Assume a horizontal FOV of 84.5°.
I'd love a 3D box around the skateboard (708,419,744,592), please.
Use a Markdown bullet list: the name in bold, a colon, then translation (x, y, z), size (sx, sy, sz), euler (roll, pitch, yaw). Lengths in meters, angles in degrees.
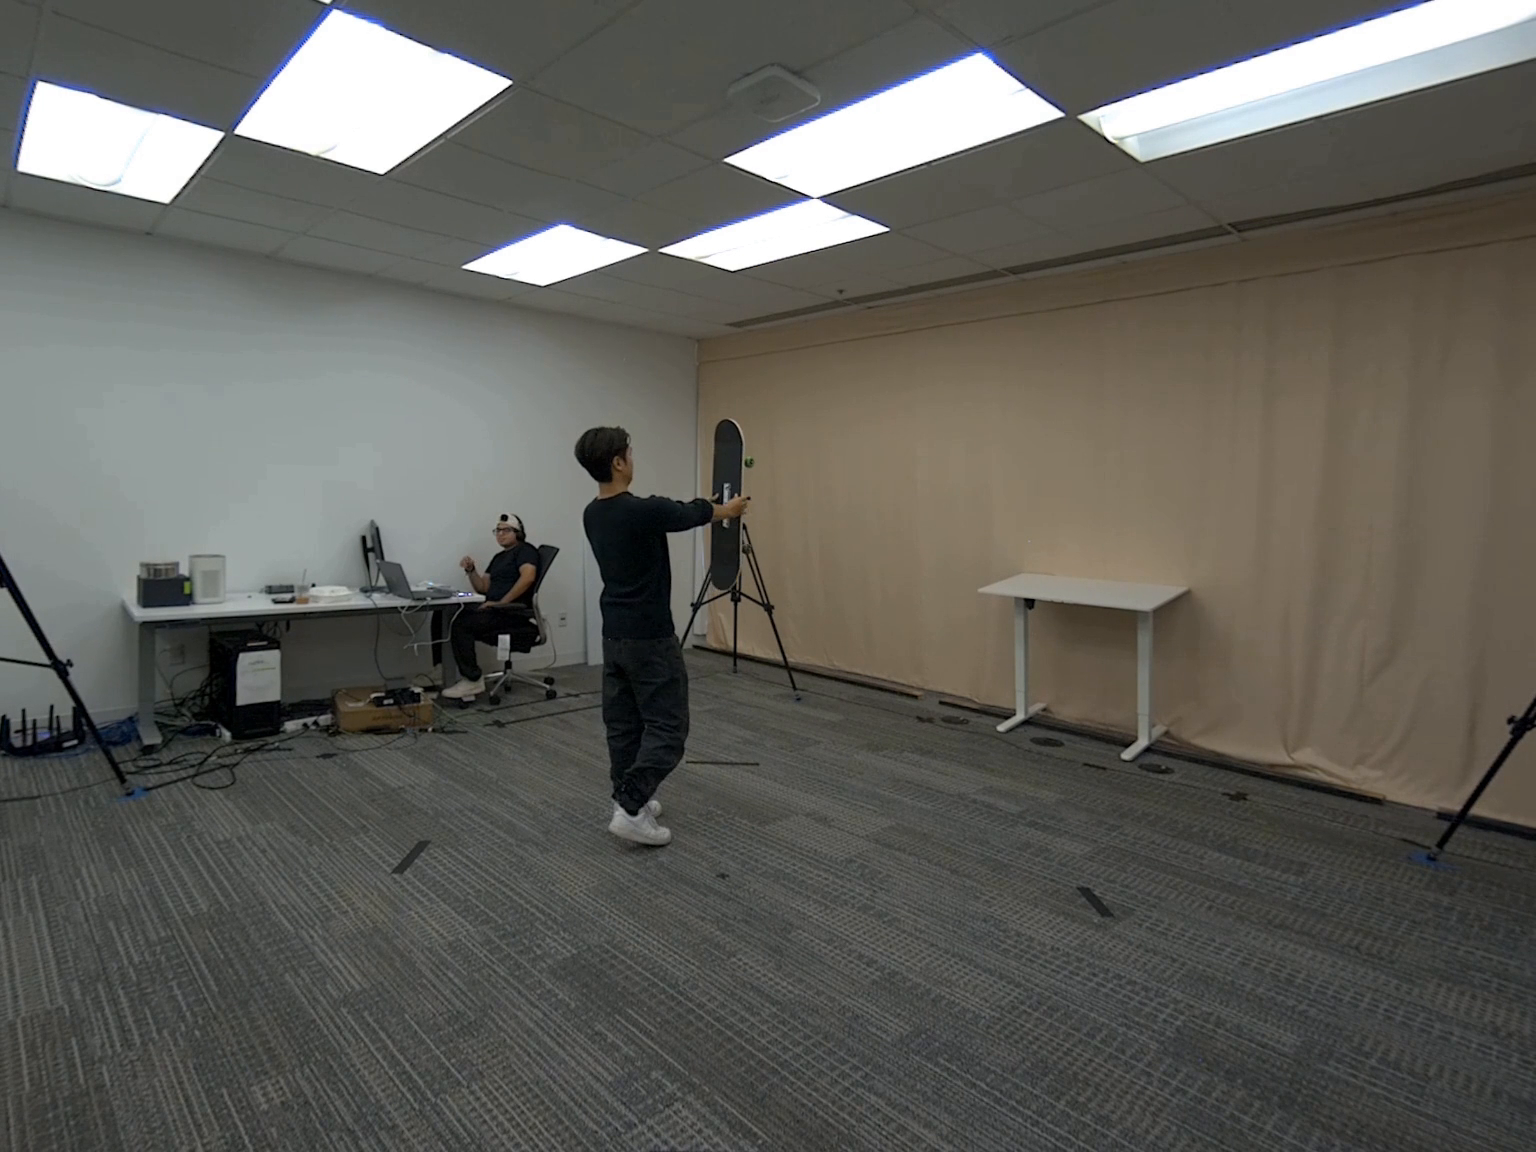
- **skateboard**: translation (-0.178, -0.327, 3.902), size (0.198, 0.784, 0.108), euler (5, 3, 43)
